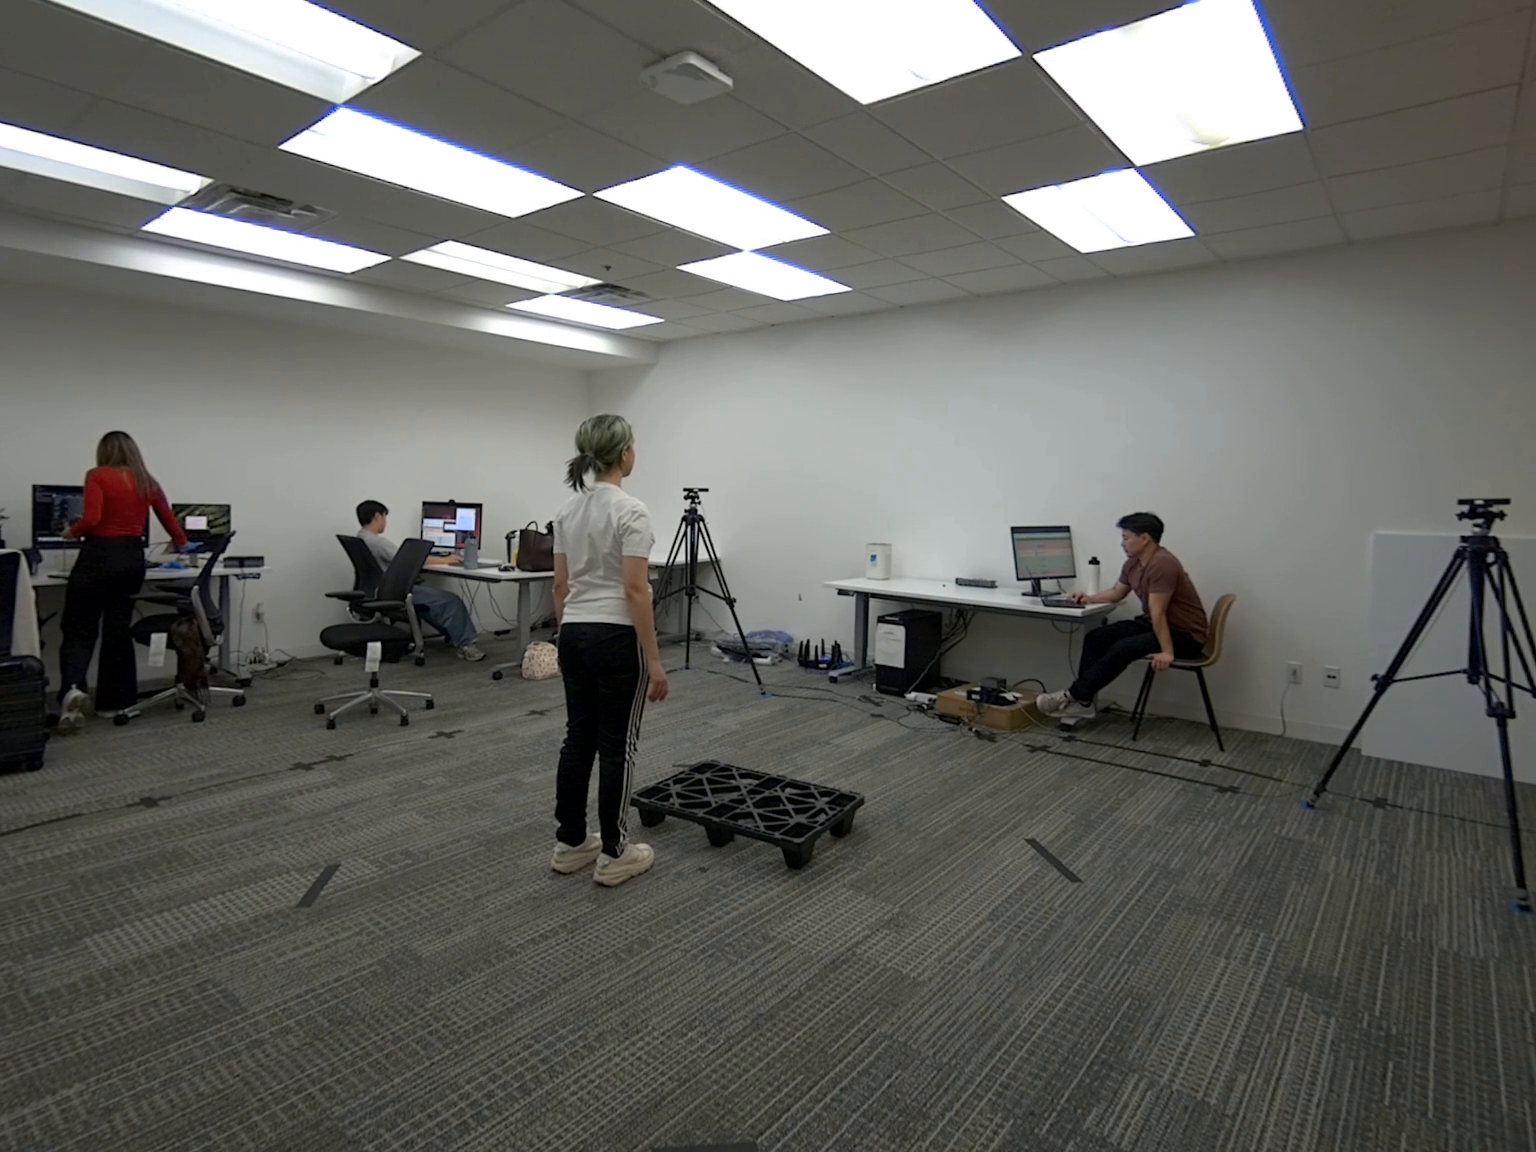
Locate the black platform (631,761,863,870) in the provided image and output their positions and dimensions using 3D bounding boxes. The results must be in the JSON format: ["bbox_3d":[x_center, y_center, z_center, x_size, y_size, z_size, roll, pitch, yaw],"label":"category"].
[{"bbox_3d":[-0.095,0.966,3.499,0.830,0.143,0.589,4,7,31],"label":"black platform"}]
